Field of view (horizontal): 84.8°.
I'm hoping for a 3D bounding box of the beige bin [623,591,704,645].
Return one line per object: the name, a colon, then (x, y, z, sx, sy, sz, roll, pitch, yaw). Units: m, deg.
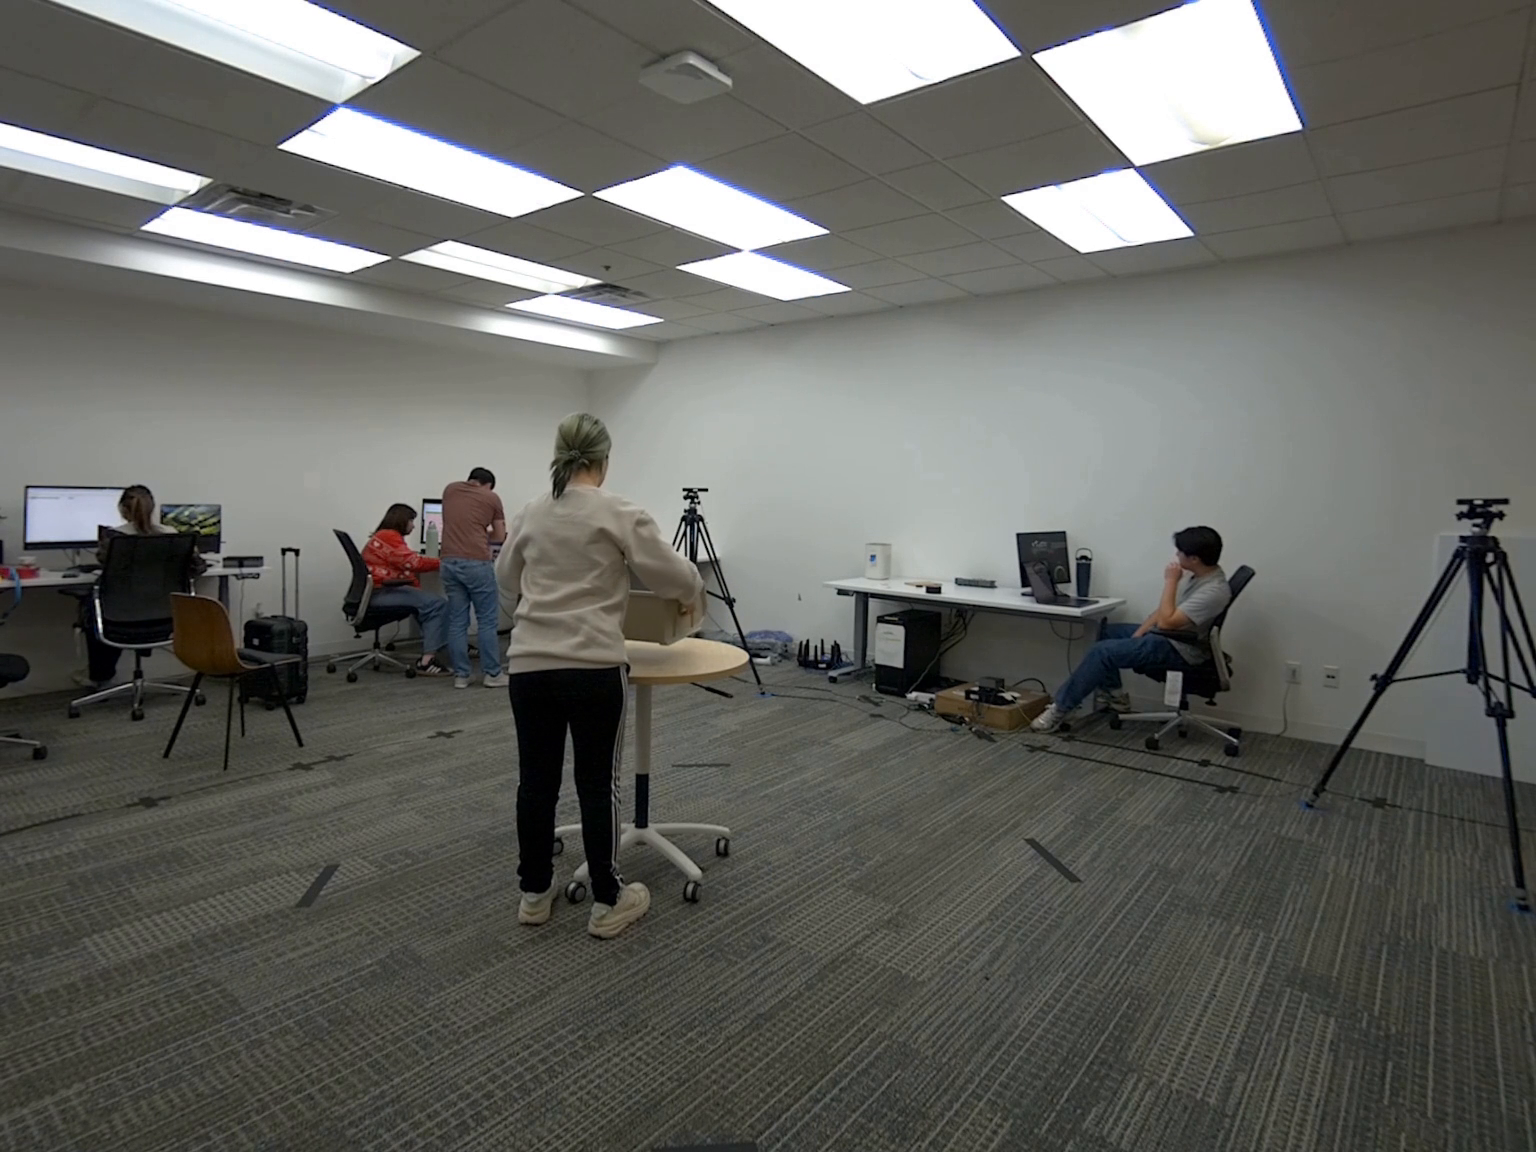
beige bin: (-0.483, 0.106, 3.066, 0.431, 0.187, 0.372, 4, 9, 18)
